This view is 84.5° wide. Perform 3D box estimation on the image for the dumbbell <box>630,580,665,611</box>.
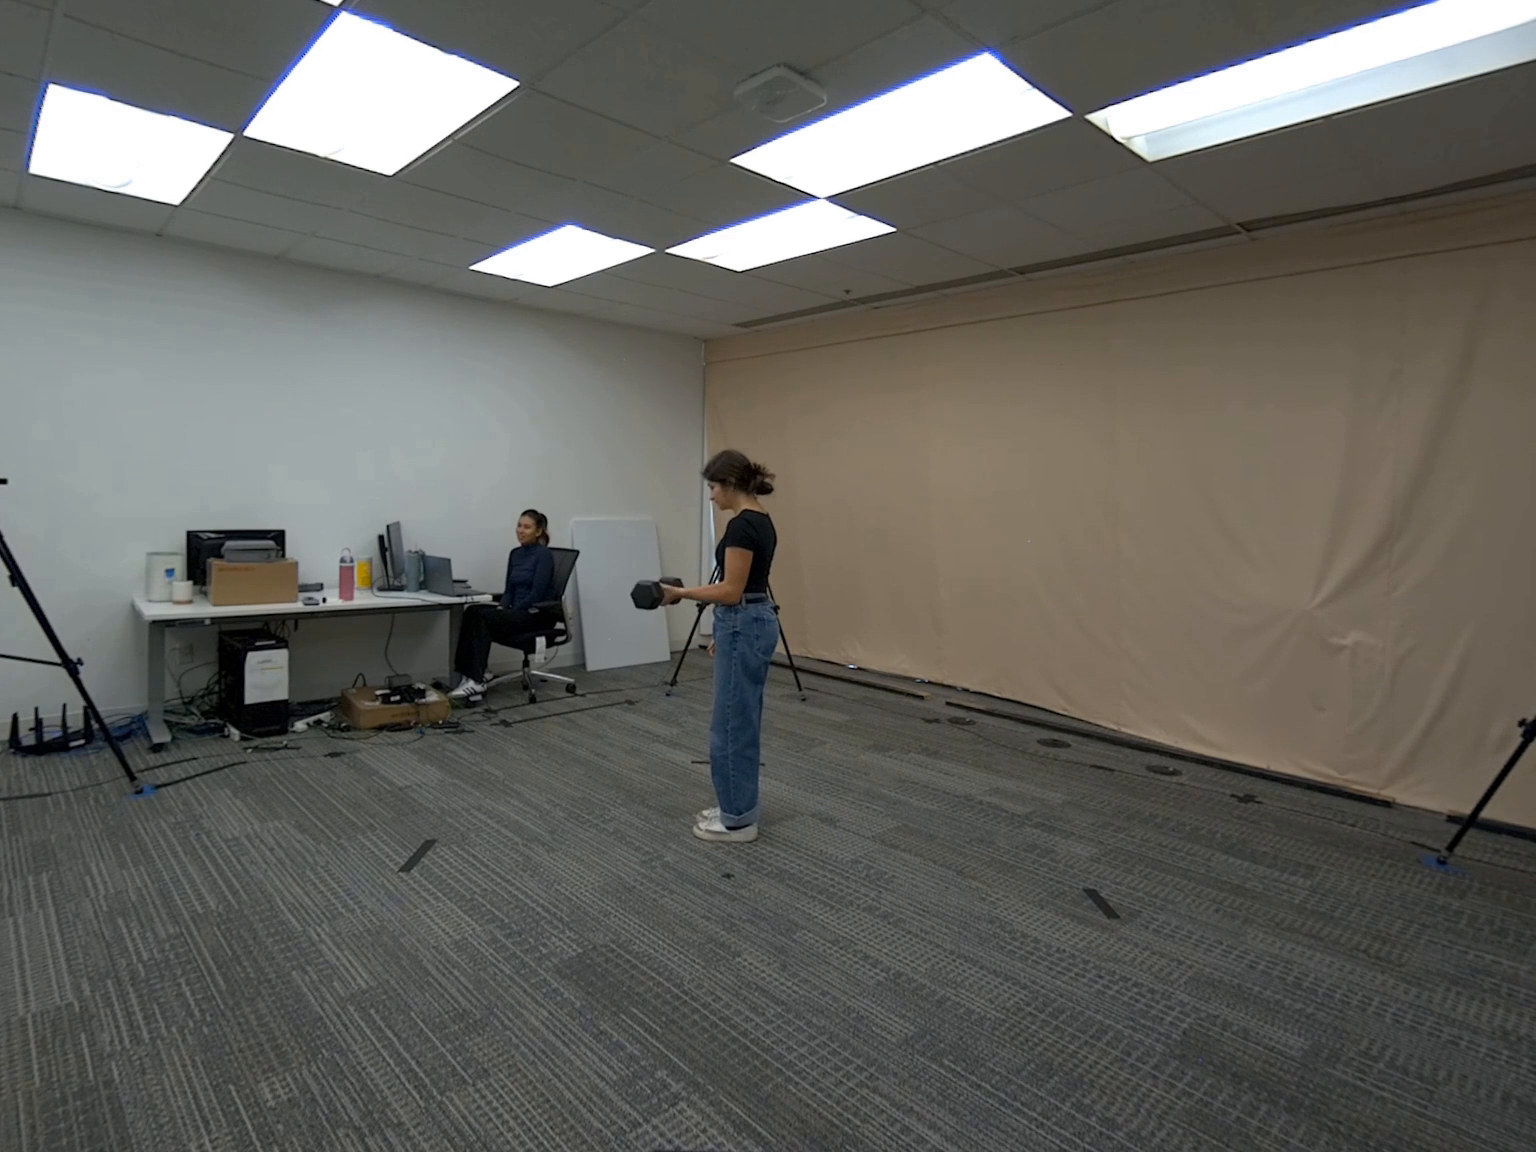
[{"bbox_3d":[-0.430,0.064,3.344,0.125,0.108,0.290,6,5,17],"label":"dumbbell"}]
